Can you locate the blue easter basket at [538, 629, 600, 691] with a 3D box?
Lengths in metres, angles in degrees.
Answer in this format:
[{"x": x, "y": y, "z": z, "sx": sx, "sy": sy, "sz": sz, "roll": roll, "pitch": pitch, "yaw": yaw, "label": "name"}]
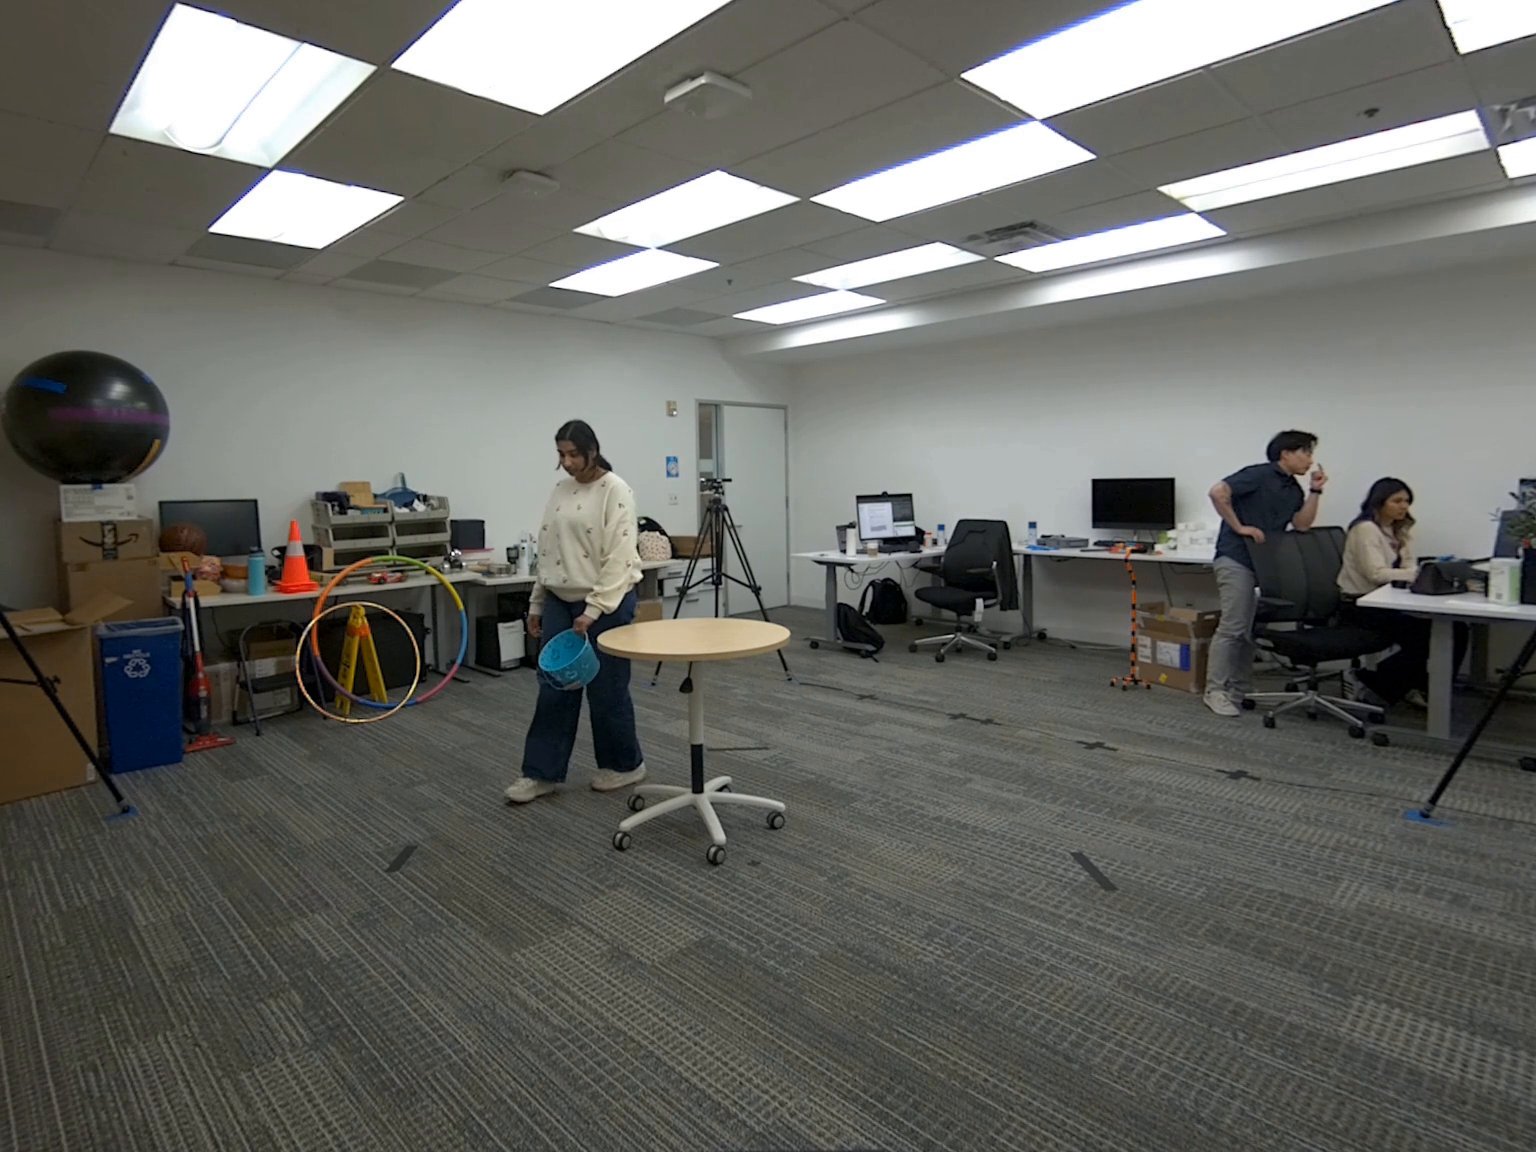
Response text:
[{"x": -0.834, "y": 0.358, "z": 3.598, "sx": 0.245, "sy": 0.150, "sz": 0.250, "roll": -19, "pitch": 35, "yaw": 12, "label": "blue easter basket"}]
